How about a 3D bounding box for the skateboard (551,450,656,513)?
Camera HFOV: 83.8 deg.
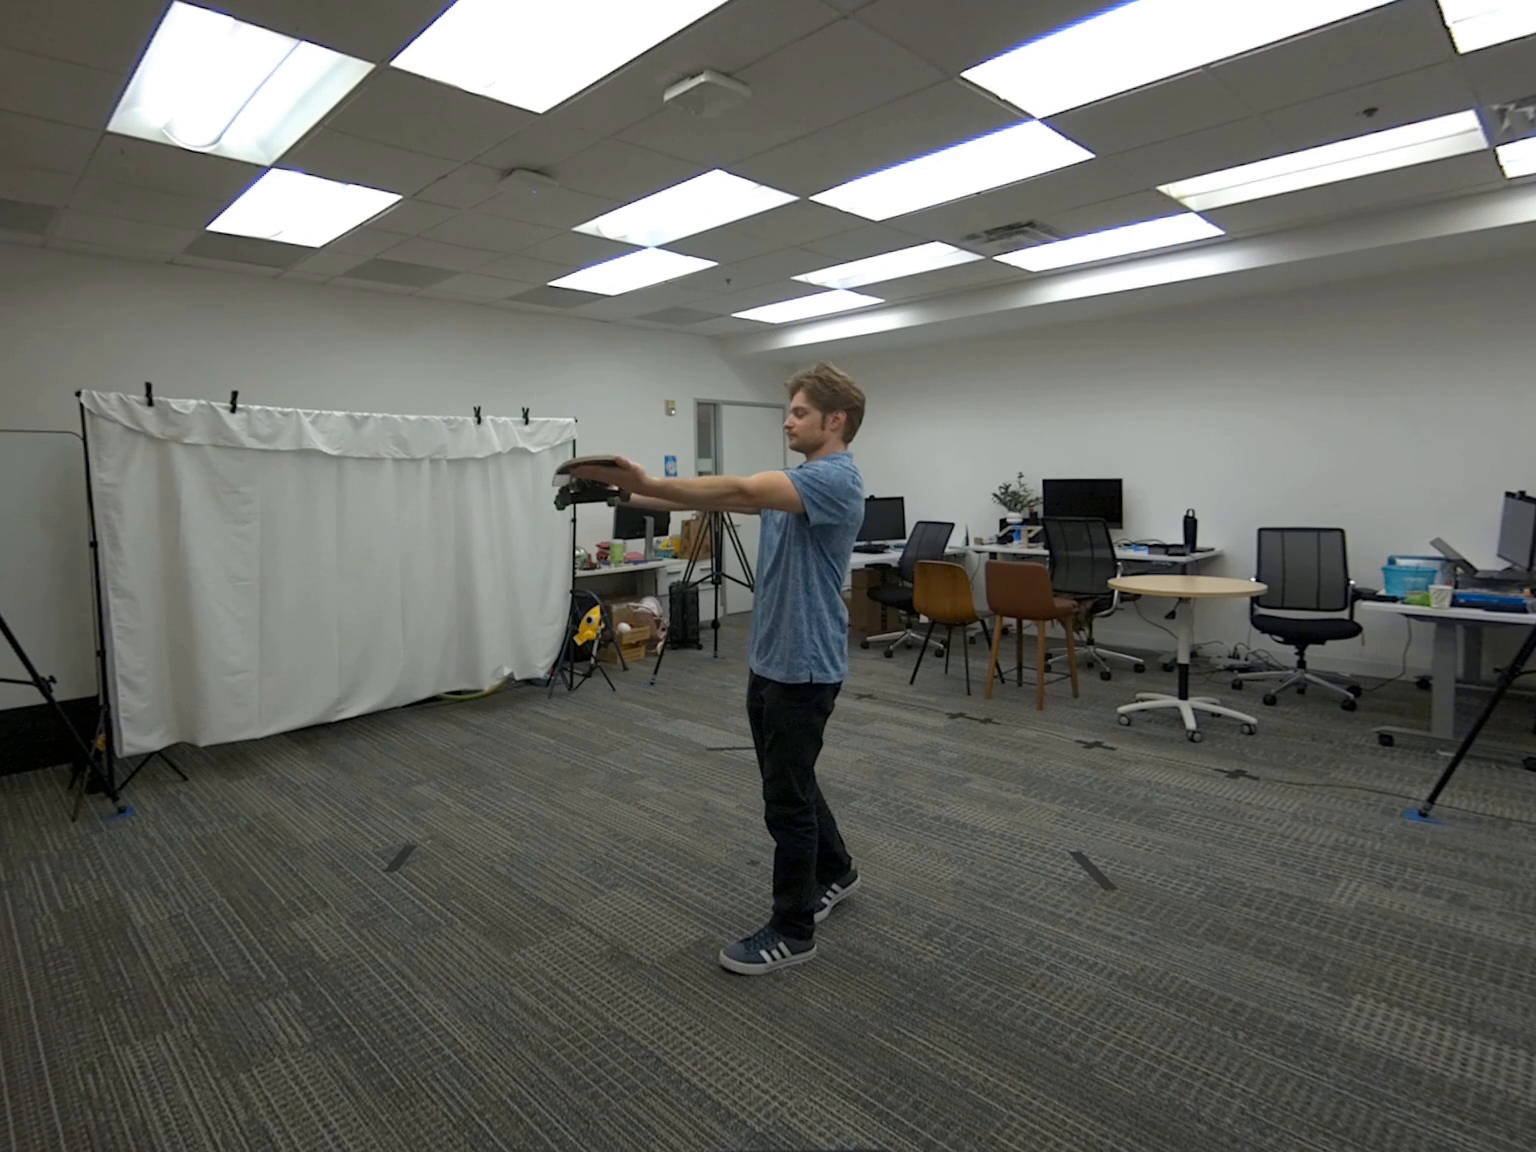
[{"bbox_3d":[-0.479,-0.251,2.387,0.191,0.110,0.798,-6,4,-17],"label":"skateboard"}]
